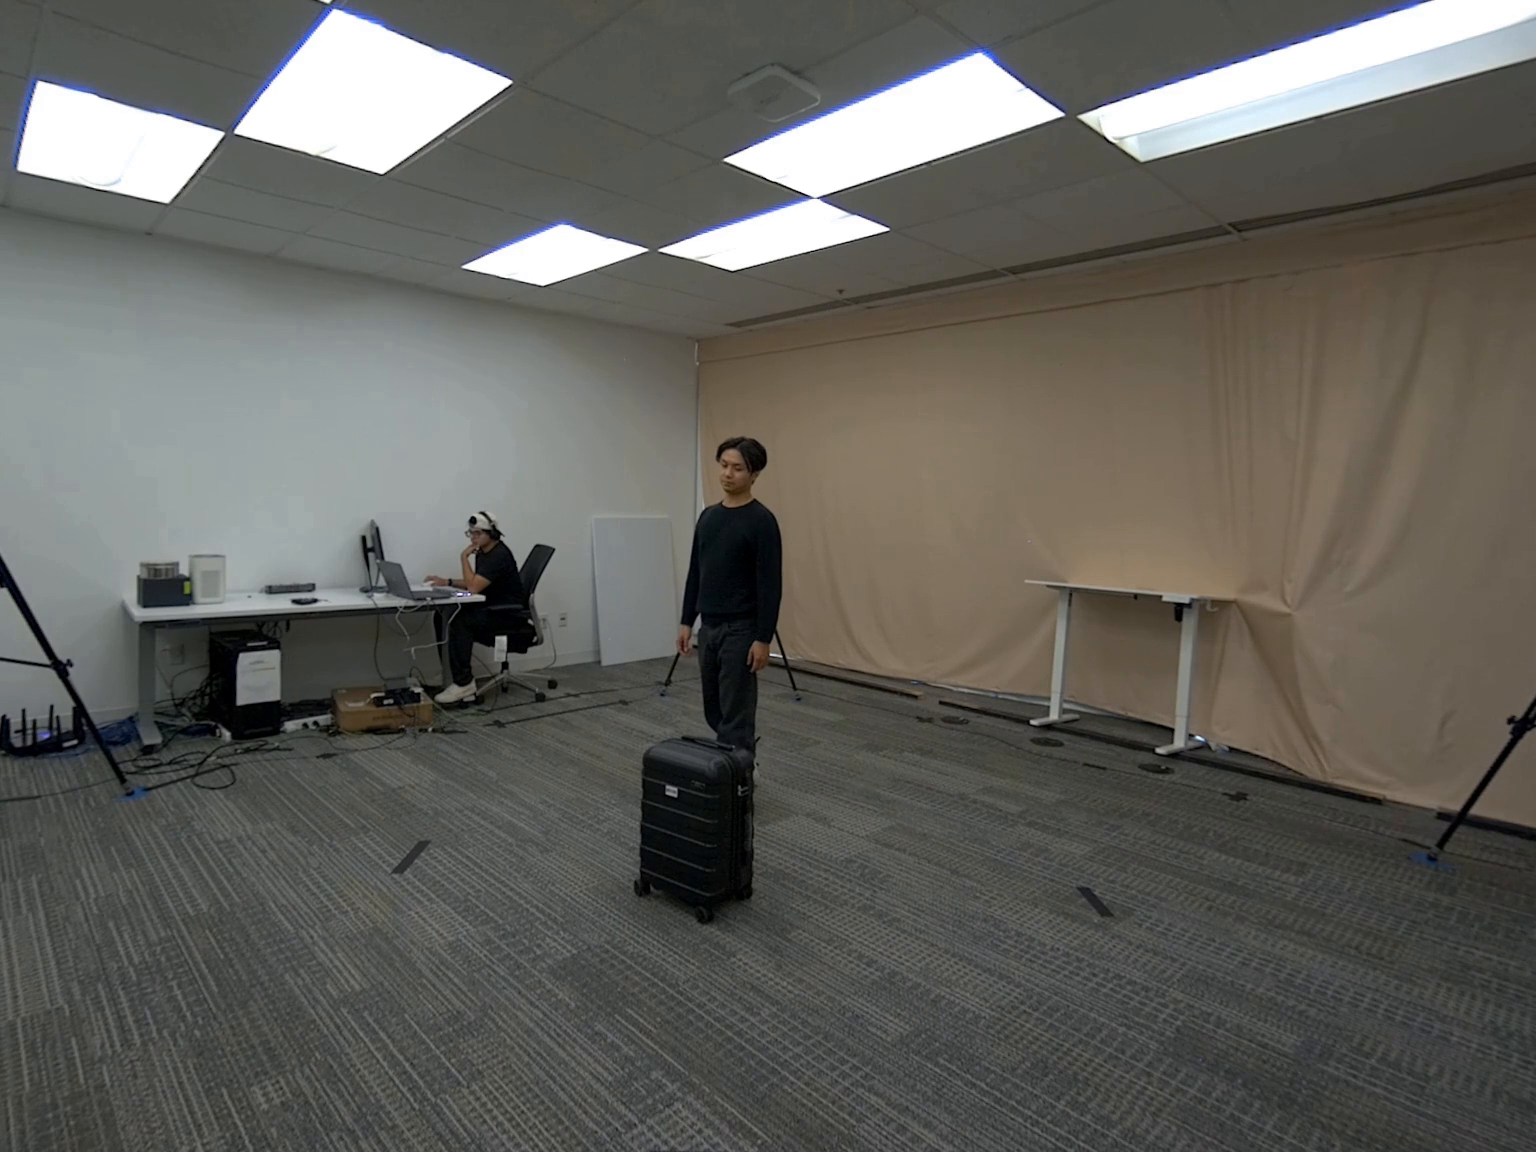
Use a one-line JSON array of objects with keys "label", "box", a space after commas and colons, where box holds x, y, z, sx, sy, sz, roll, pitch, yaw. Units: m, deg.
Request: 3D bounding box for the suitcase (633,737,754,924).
[{"label": "suitcase", "box": [-0.254, 0.847, 2.908, 0.385, 0.547, 0.243, 5, 6, 37]}]
